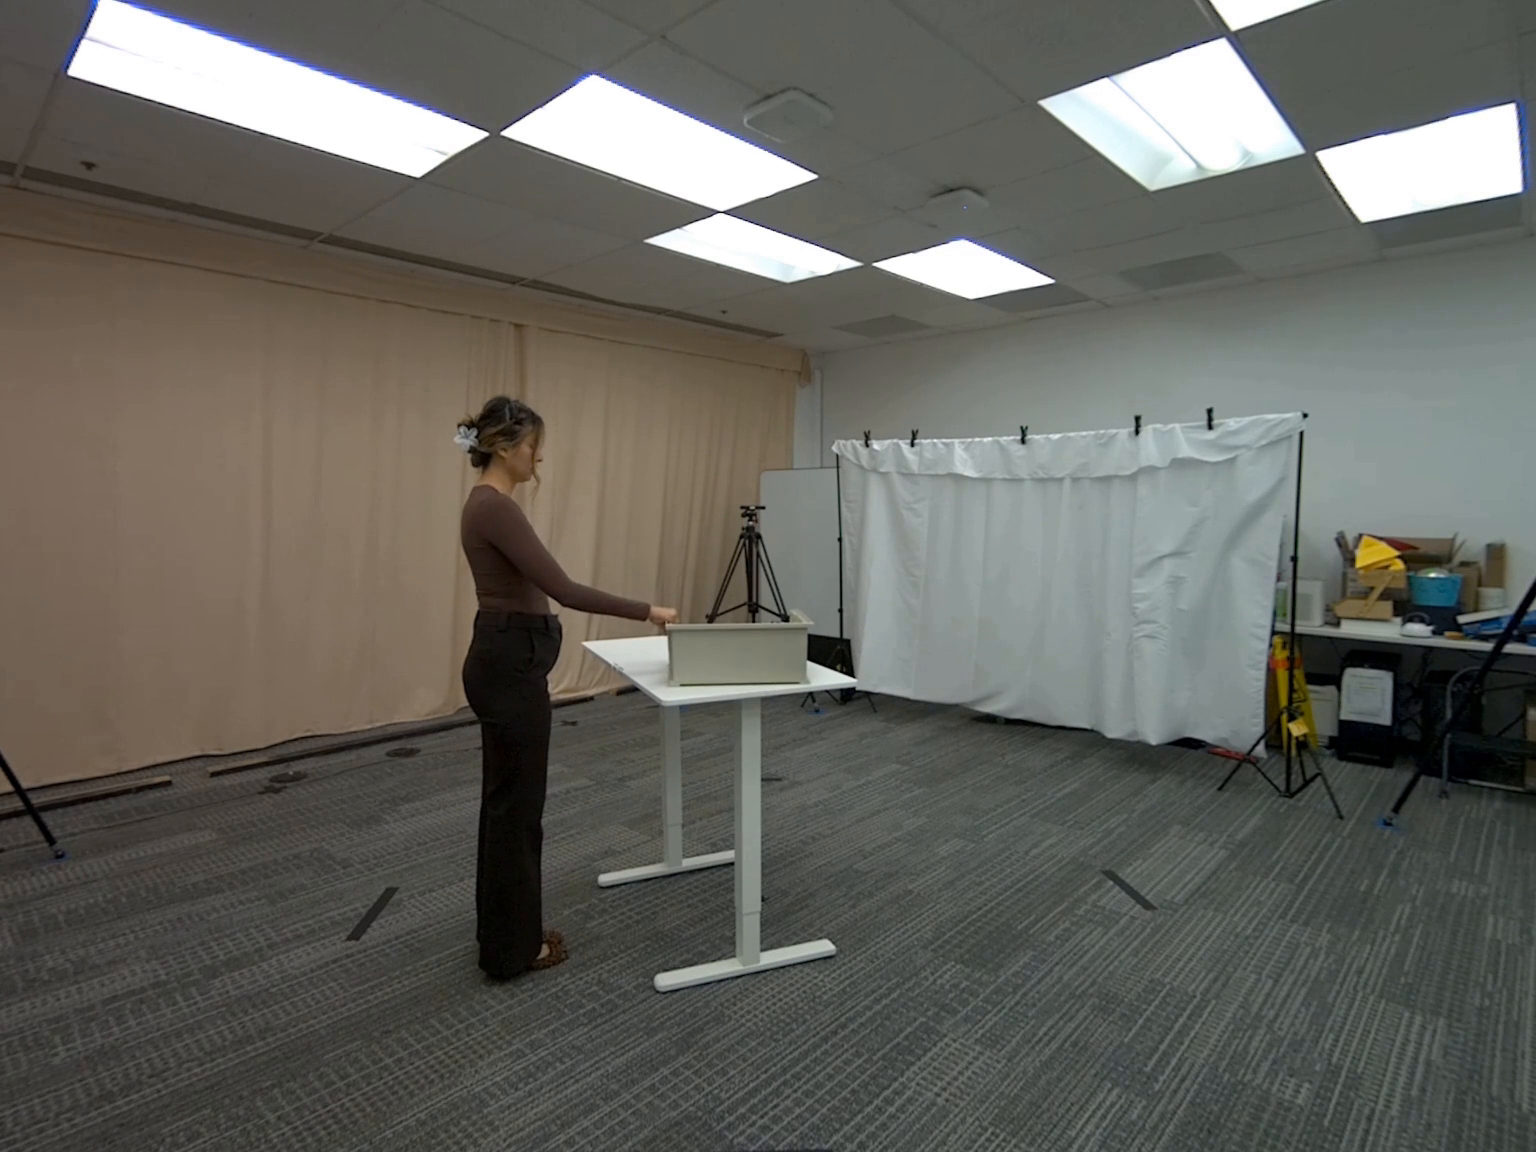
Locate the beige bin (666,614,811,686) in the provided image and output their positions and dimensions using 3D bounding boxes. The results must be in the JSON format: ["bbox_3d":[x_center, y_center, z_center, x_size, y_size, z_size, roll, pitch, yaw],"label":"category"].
[{"bbox_3d":[-0.100,0.211,2.585,0.420,0.188,0.381,0,6,-6],"label":"beige bin"}]
